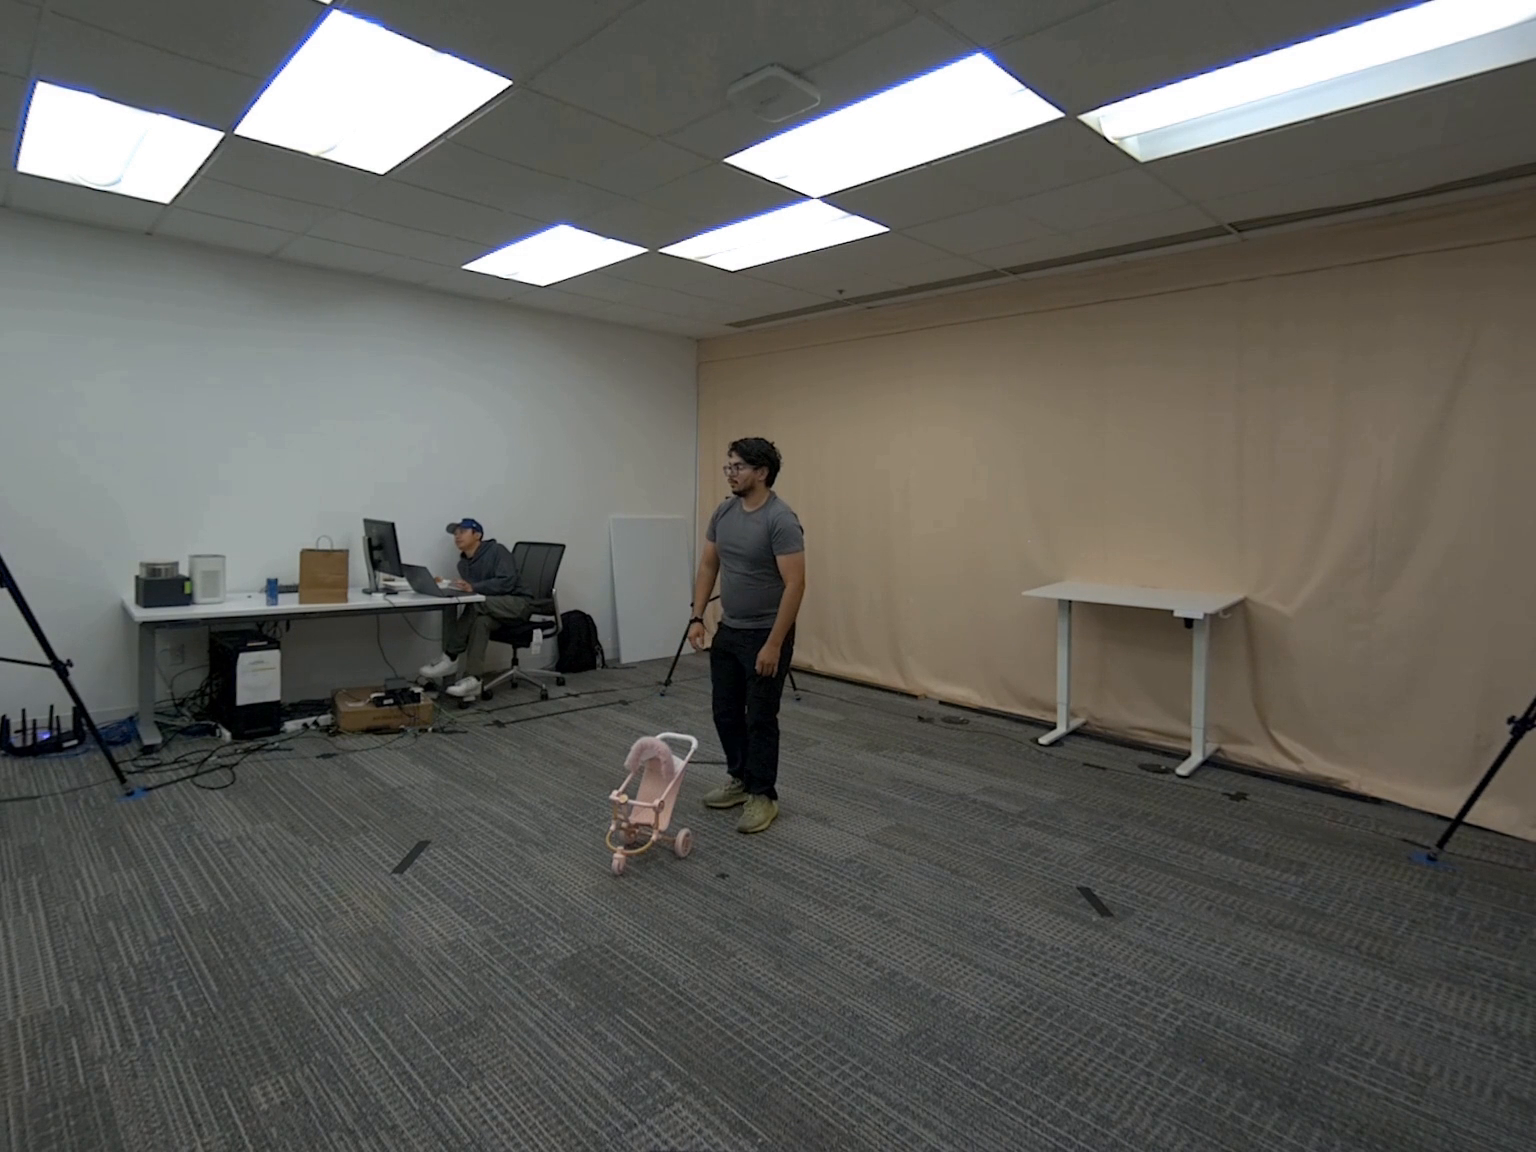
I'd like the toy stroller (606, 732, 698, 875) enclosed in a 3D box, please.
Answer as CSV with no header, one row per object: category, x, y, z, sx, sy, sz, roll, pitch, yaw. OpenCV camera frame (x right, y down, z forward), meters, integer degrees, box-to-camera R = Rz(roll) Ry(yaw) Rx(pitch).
toy stroller,-0.475,0.868,3.251,0.288,0.539,0.331,3,-13,31
